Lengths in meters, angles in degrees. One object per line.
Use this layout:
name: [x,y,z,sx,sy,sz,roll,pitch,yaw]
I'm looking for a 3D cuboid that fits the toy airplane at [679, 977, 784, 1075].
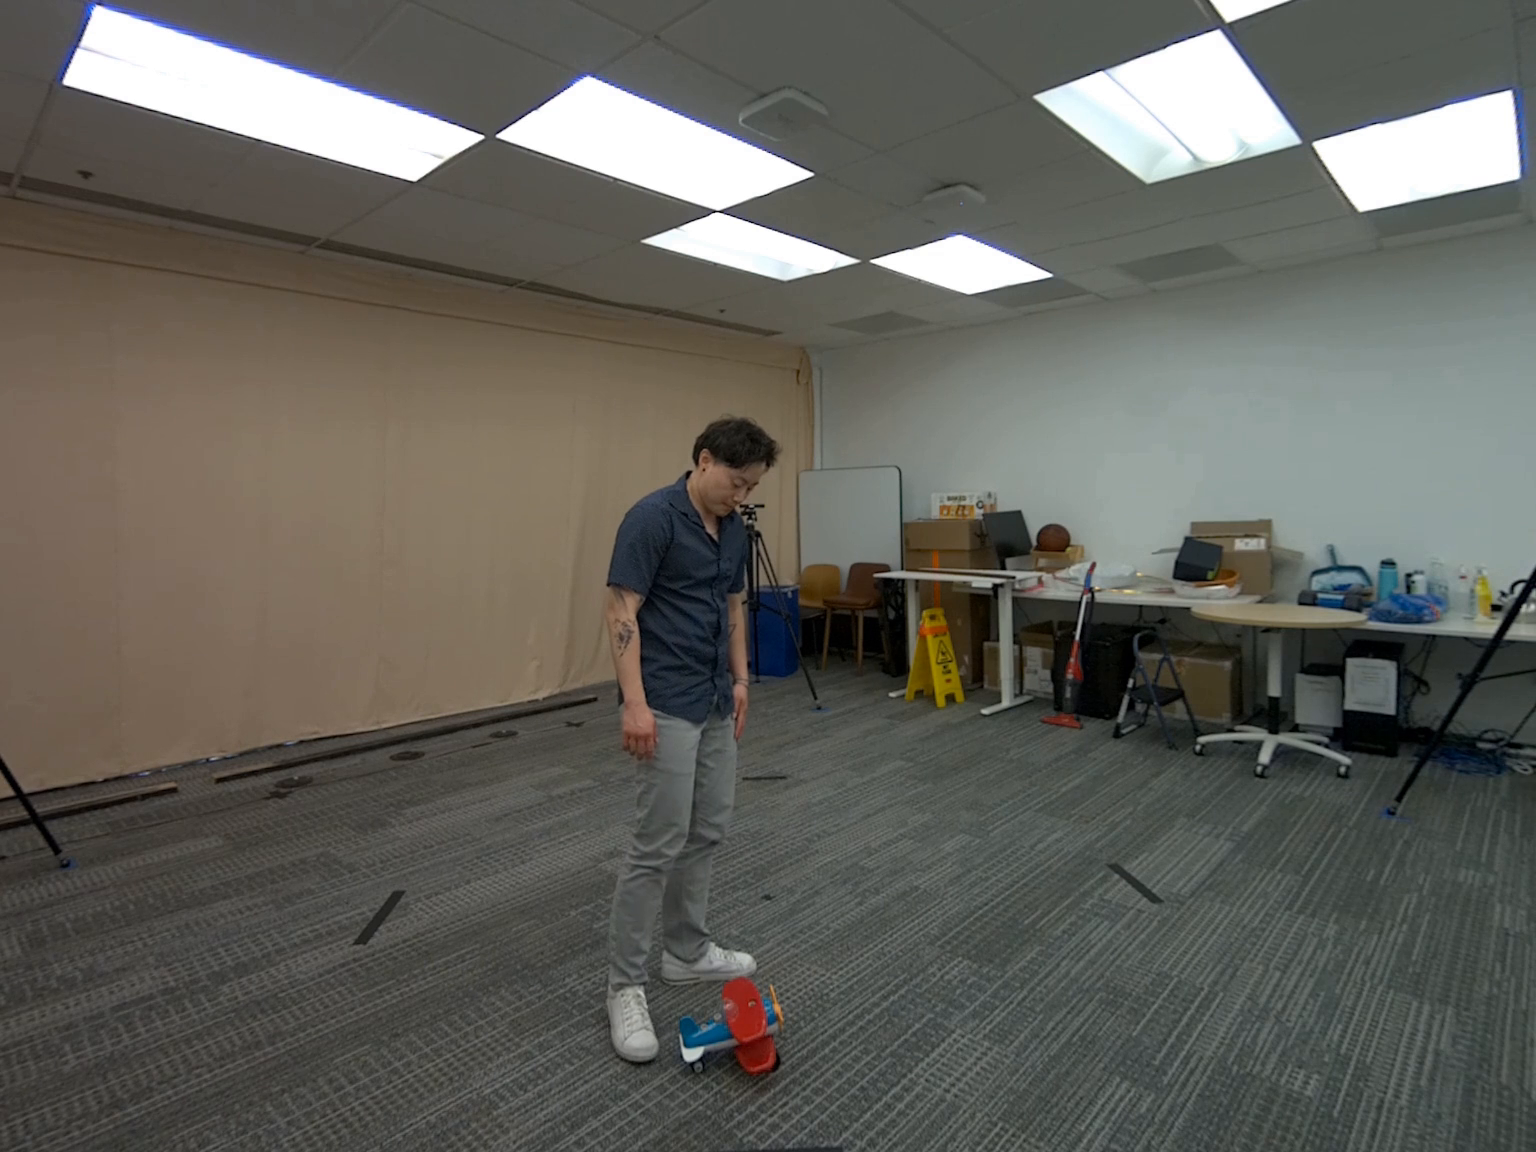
toy airplane: [-0.080,1.146,2.080,0.251,0.156,0.259,-5,6,-38]
